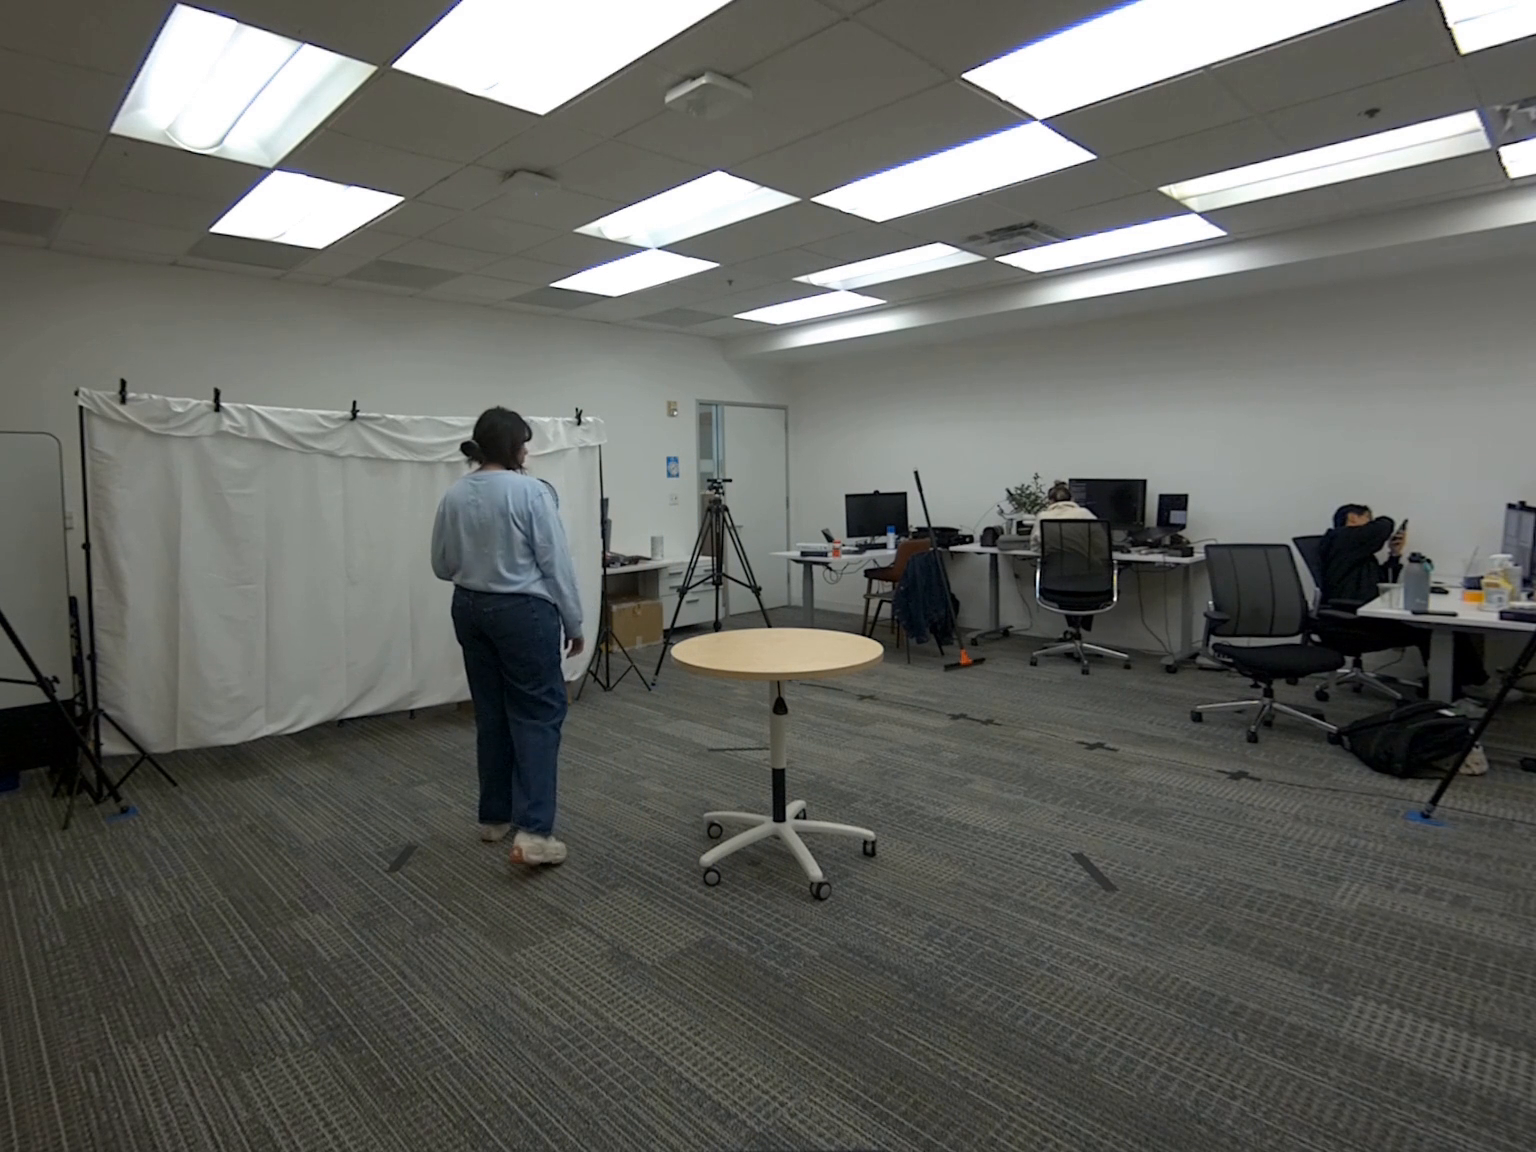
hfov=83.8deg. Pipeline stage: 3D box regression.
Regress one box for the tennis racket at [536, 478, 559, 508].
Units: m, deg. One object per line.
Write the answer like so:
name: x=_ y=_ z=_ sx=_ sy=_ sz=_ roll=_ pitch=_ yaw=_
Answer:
tennis racket: x=-0.998 y=-0.218 z=3.589 sx=0.212 sy=0.439 sz=0.031 roll=17 pitch=-27 yaw=-7
